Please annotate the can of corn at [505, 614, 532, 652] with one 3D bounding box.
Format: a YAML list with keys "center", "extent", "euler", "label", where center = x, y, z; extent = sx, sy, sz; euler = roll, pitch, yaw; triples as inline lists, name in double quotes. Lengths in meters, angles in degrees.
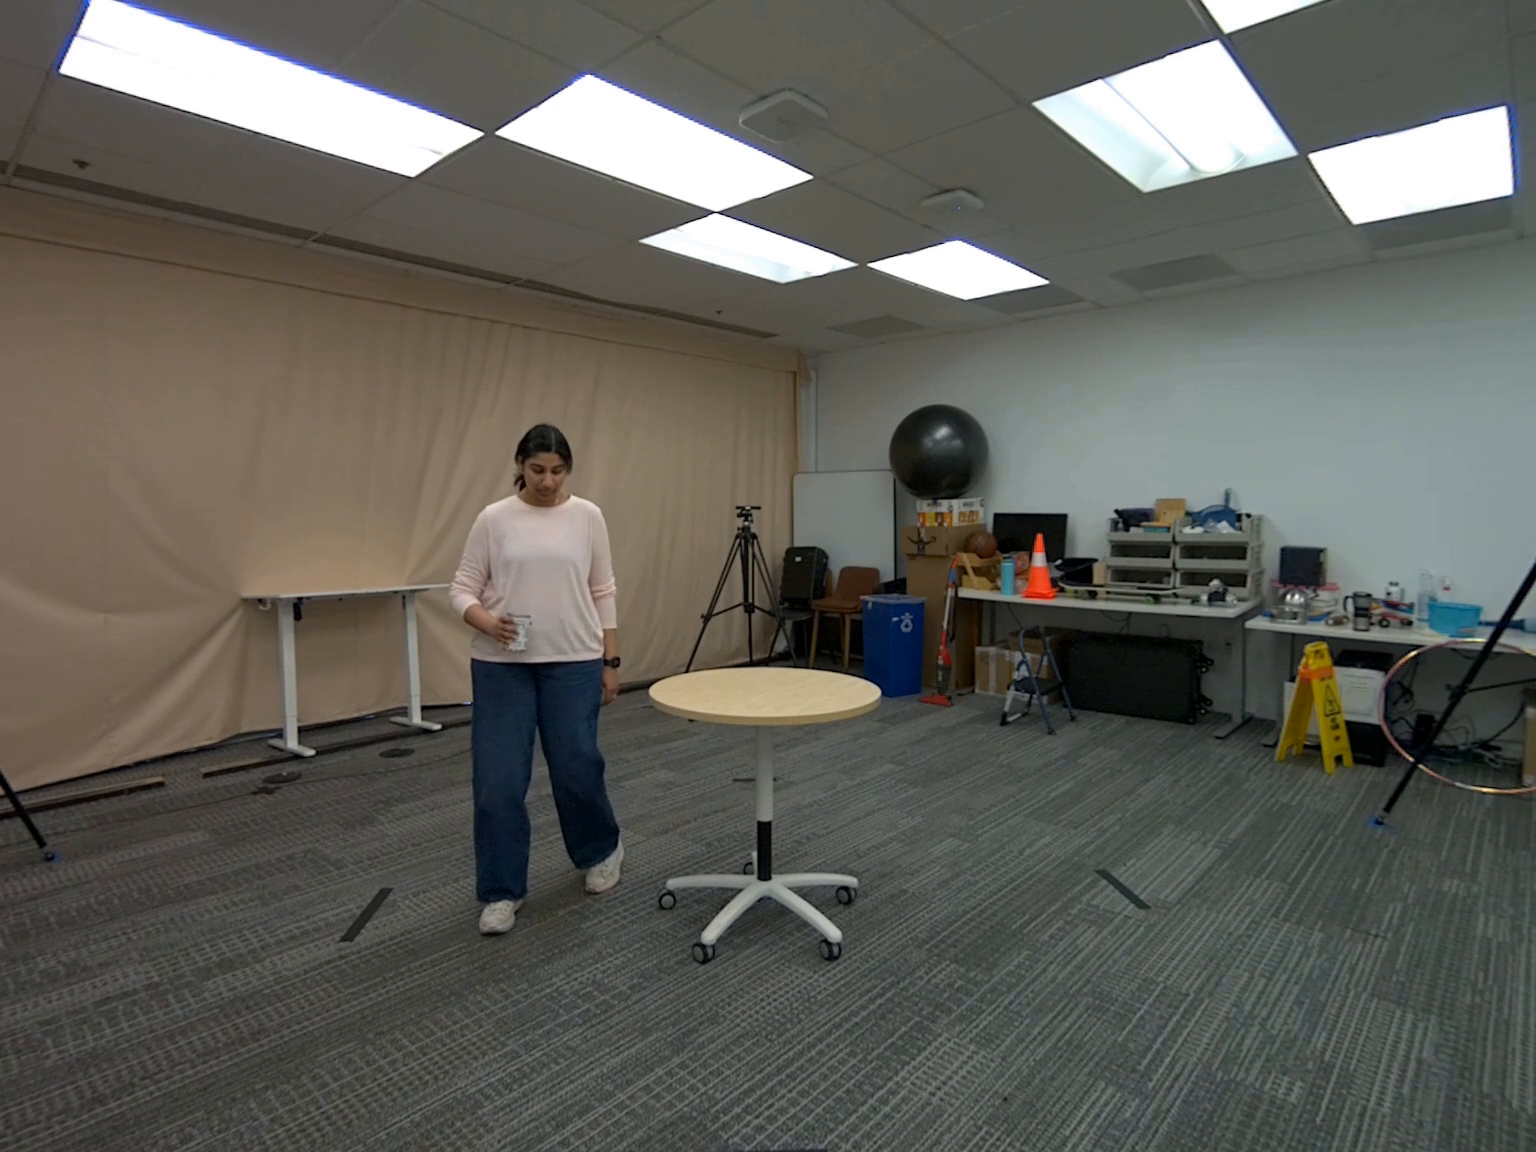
- center: [-0.784, 0.179, 2.633]
  extent: [0.074, 0.111, 0.074]
  euler: [3, 0, -2]
  label: "can of corn"
